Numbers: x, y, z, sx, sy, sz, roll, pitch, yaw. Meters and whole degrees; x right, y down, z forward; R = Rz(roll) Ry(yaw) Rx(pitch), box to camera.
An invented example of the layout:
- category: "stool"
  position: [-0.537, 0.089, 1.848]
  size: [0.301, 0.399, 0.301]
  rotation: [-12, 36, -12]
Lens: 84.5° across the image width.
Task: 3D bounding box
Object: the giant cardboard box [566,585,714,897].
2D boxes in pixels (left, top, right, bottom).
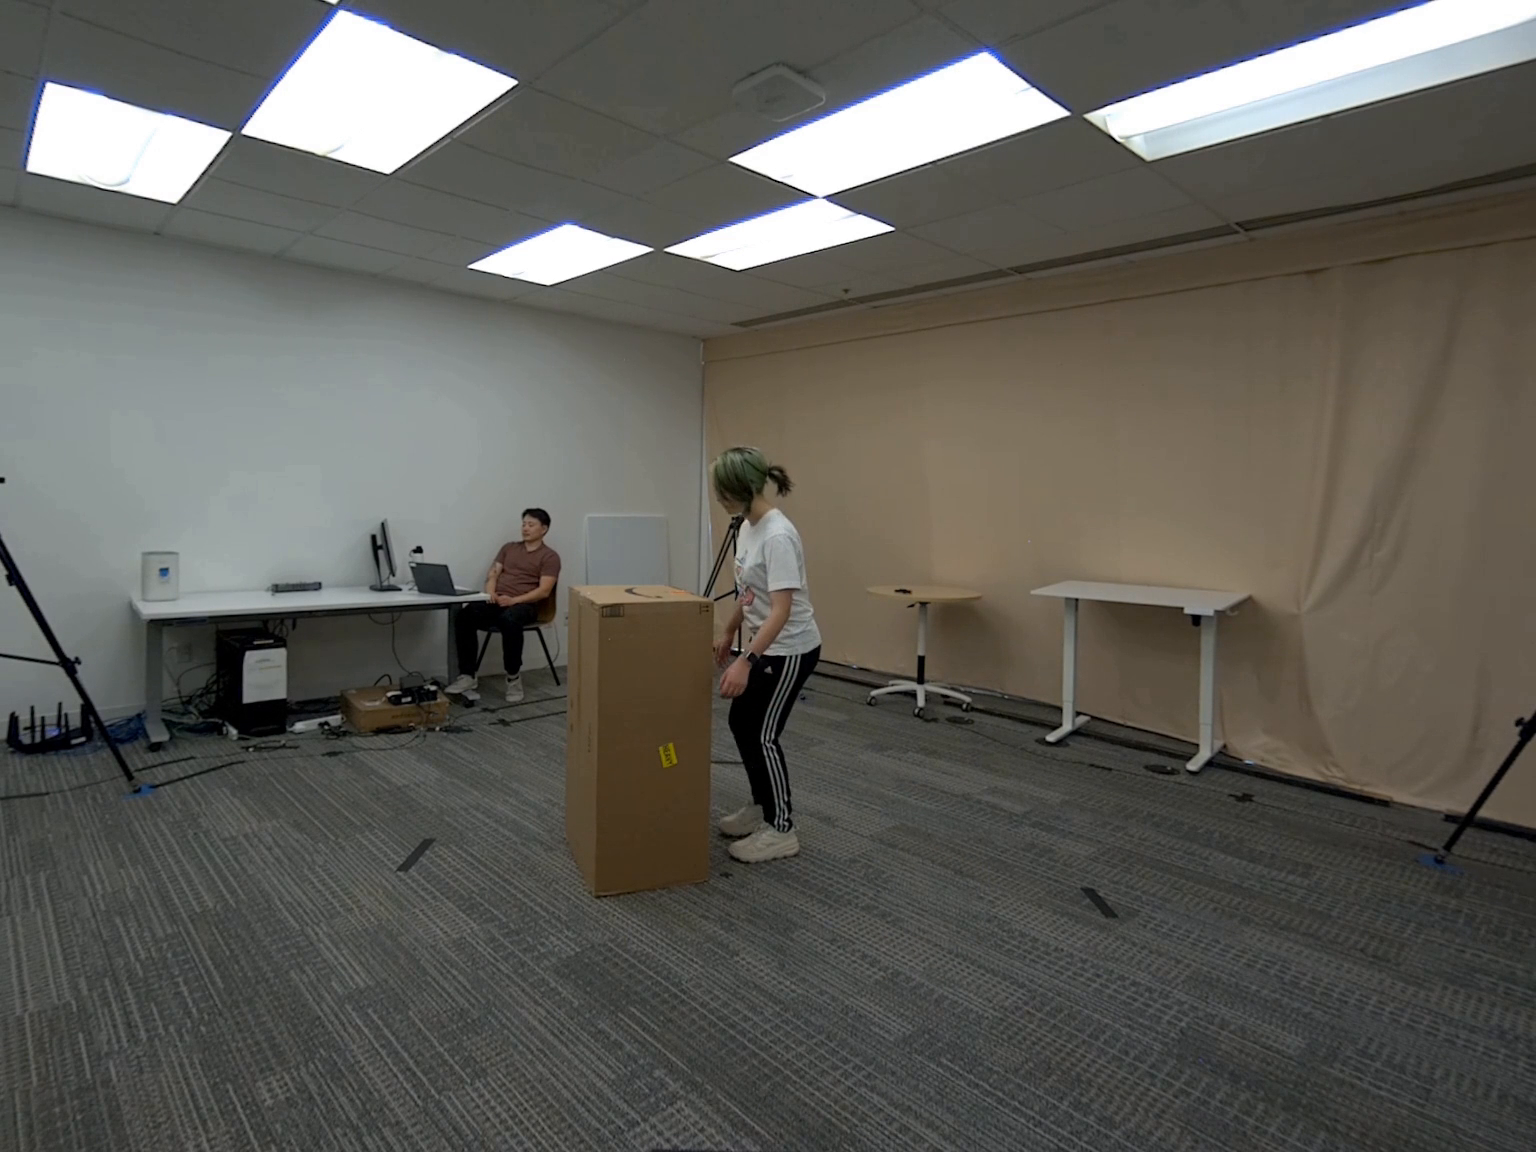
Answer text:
- category: "giant cardboard box"
  position: [-0.517, 0.579, 3.216]
  size: [0.439, 1.025, 0.595]
  rotation: [-1, 3, -24]
